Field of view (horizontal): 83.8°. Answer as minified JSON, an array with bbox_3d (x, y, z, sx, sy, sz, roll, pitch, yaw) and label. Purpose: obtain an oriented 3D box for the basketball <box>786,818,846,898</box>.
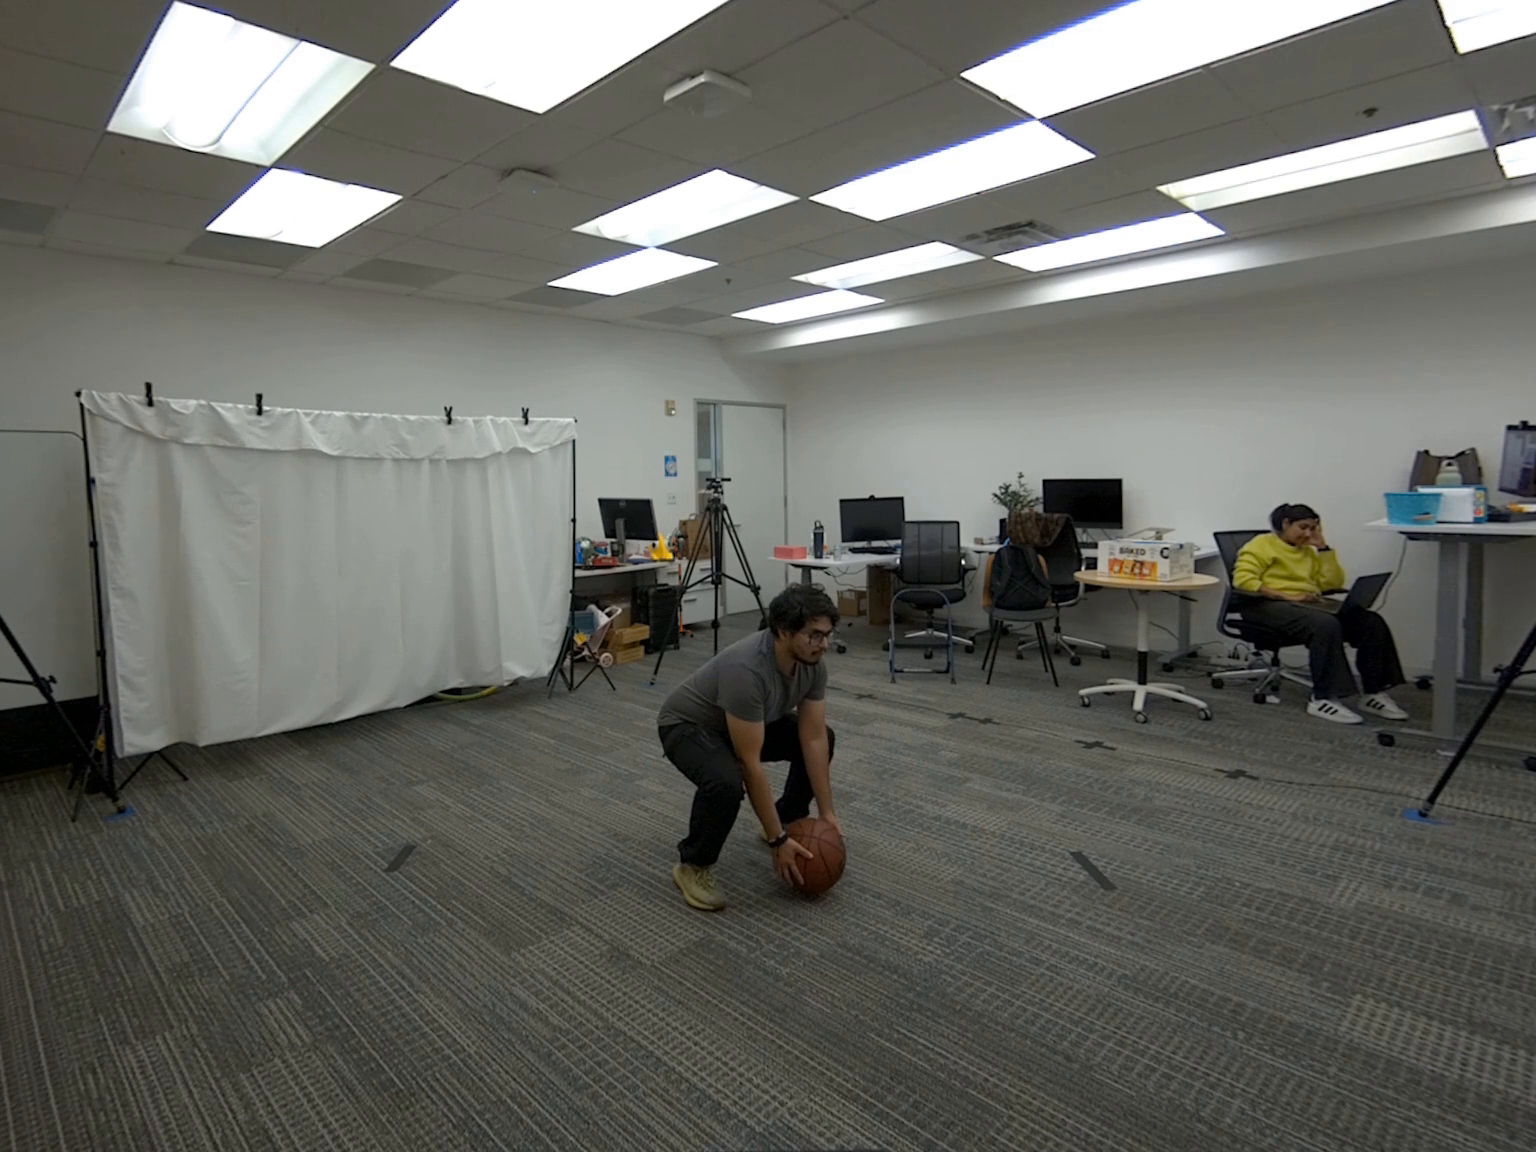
[{"bbox_3d":[0.143,0.930,2.867,0.236,0.235,0.237,-1,5,-2],"label":"basketball"}]
